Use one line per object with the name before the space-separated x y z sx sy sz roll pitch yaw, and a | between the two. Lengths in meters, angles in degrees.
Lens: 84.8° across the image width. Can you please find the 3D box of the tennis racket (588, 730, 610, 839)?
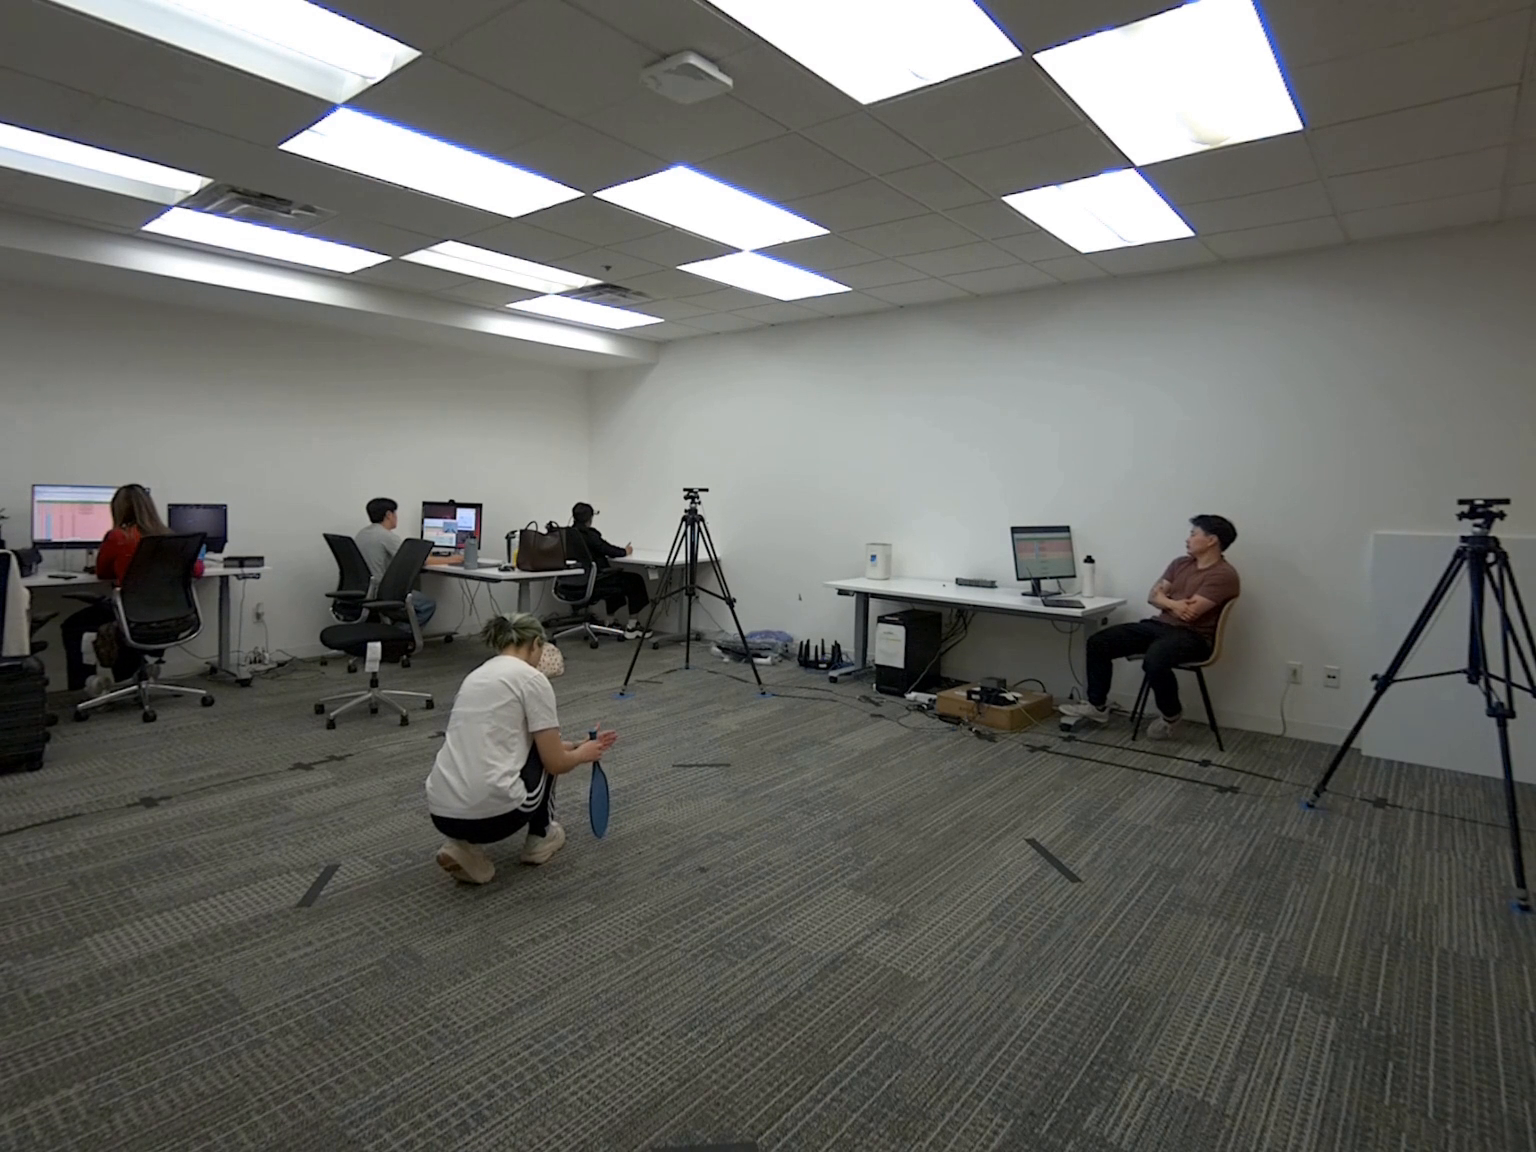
tennis racket | -0.698 0.826 3.369 0.032 0.427 0.214 -2 13 10
